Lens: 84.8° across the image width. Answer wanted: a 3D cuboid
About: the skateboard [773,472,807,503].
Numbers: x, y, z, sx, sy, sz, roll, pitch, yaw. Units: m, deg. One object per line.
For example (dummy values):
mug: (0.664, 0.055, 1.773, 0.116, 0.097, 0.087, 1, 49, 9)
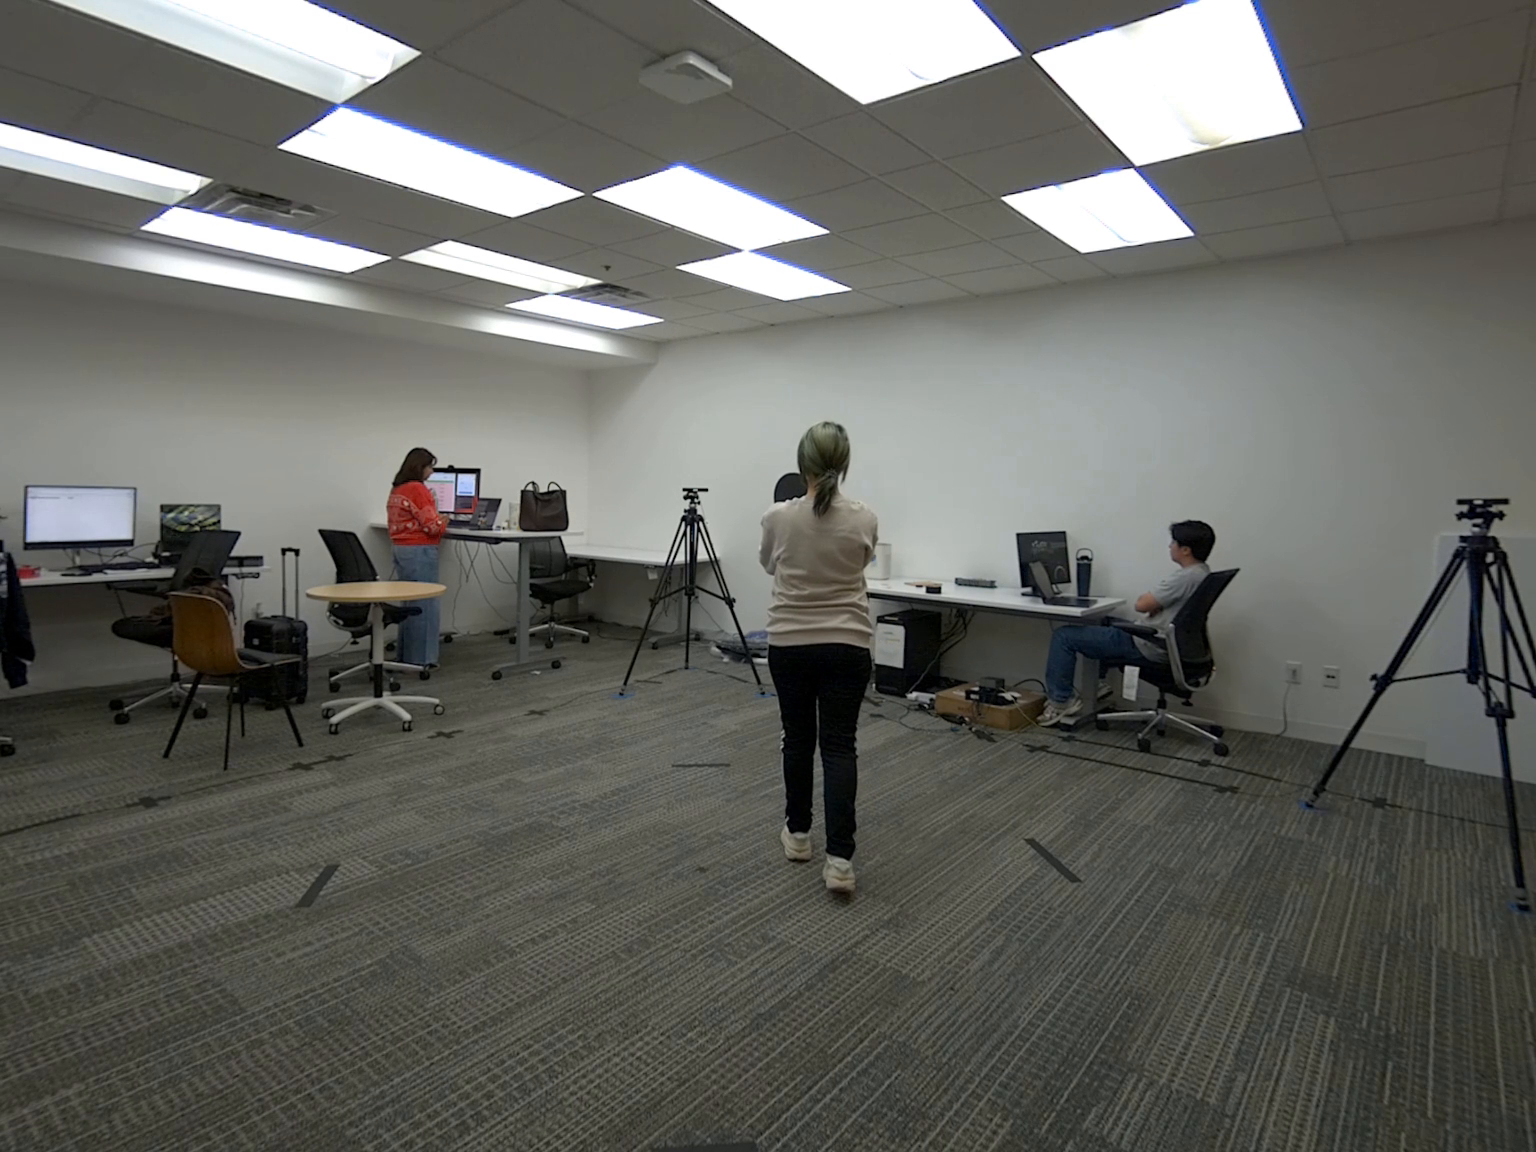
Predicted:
skateboard: (0.146, -0.071, 3.681, 0.192, 0.803, 0.109, -3, -22, -7)
